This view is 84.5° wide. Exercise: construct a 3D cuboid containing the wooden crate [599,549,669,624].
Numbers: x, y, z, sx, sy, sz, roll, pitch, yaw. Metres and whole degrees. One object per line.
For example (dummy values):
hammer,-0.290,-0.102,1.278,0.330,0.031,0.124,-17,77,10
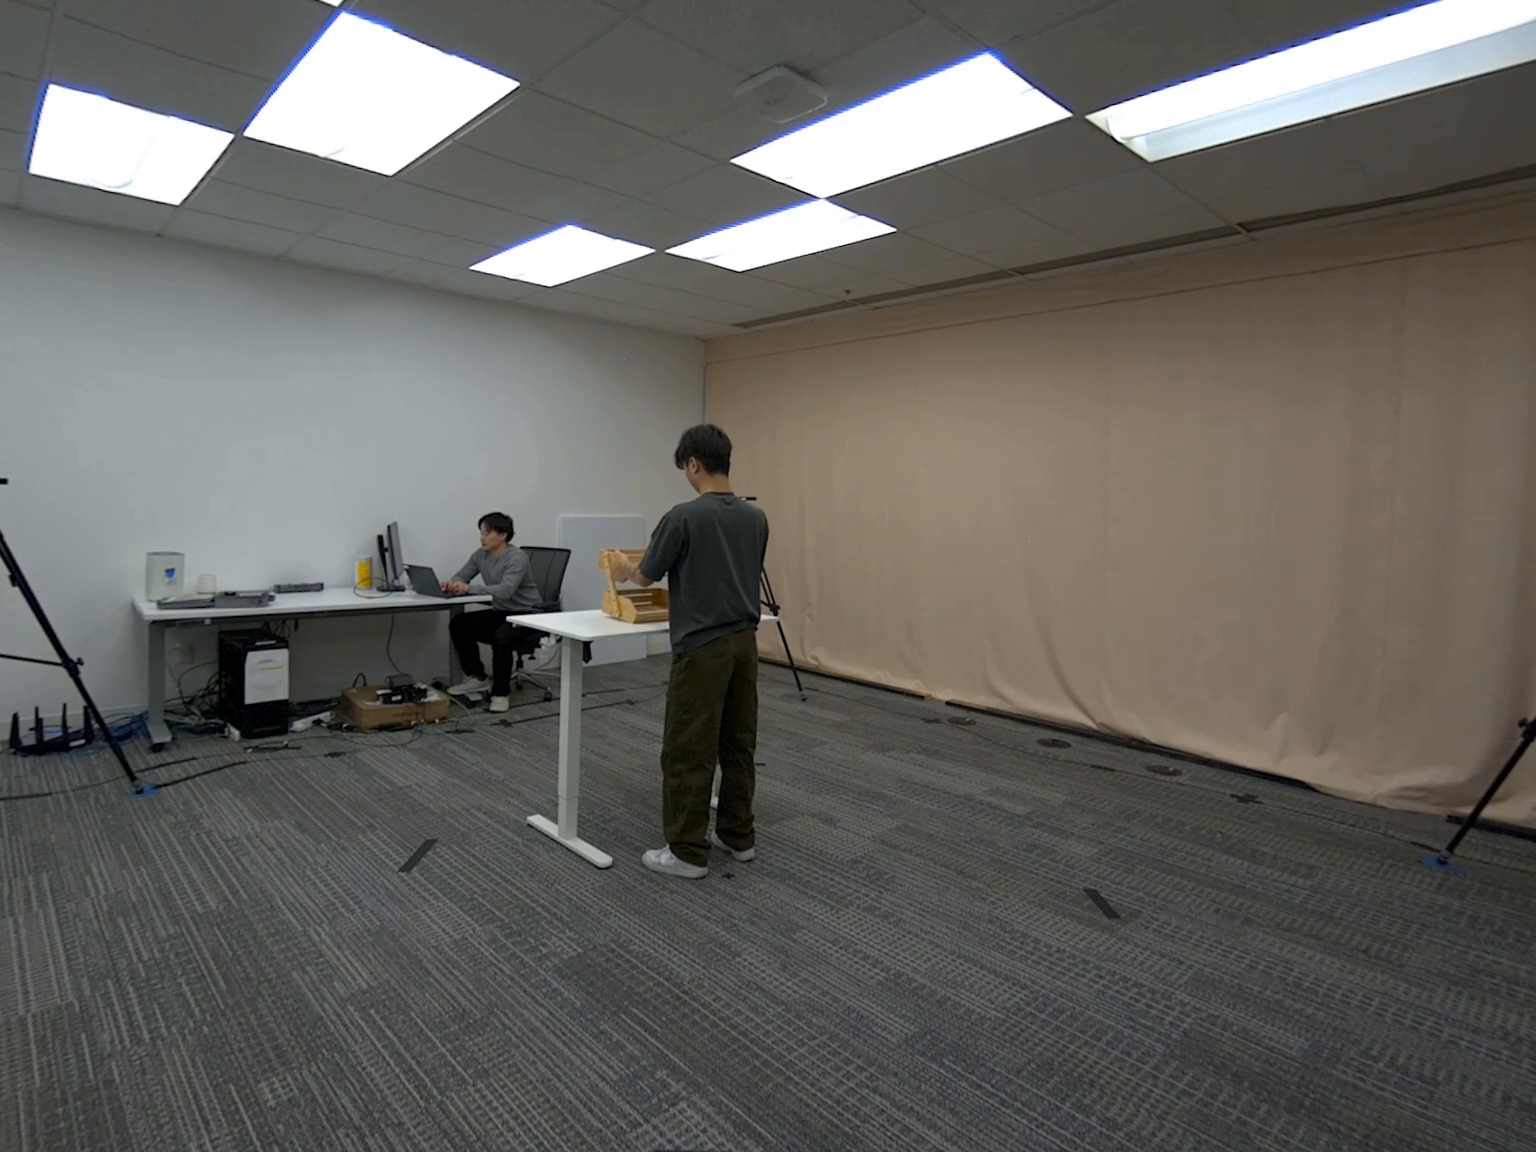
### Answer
wooden crate,-0.517,0.033,3.547,0.317,0.272,0.310,-2,10,-43
